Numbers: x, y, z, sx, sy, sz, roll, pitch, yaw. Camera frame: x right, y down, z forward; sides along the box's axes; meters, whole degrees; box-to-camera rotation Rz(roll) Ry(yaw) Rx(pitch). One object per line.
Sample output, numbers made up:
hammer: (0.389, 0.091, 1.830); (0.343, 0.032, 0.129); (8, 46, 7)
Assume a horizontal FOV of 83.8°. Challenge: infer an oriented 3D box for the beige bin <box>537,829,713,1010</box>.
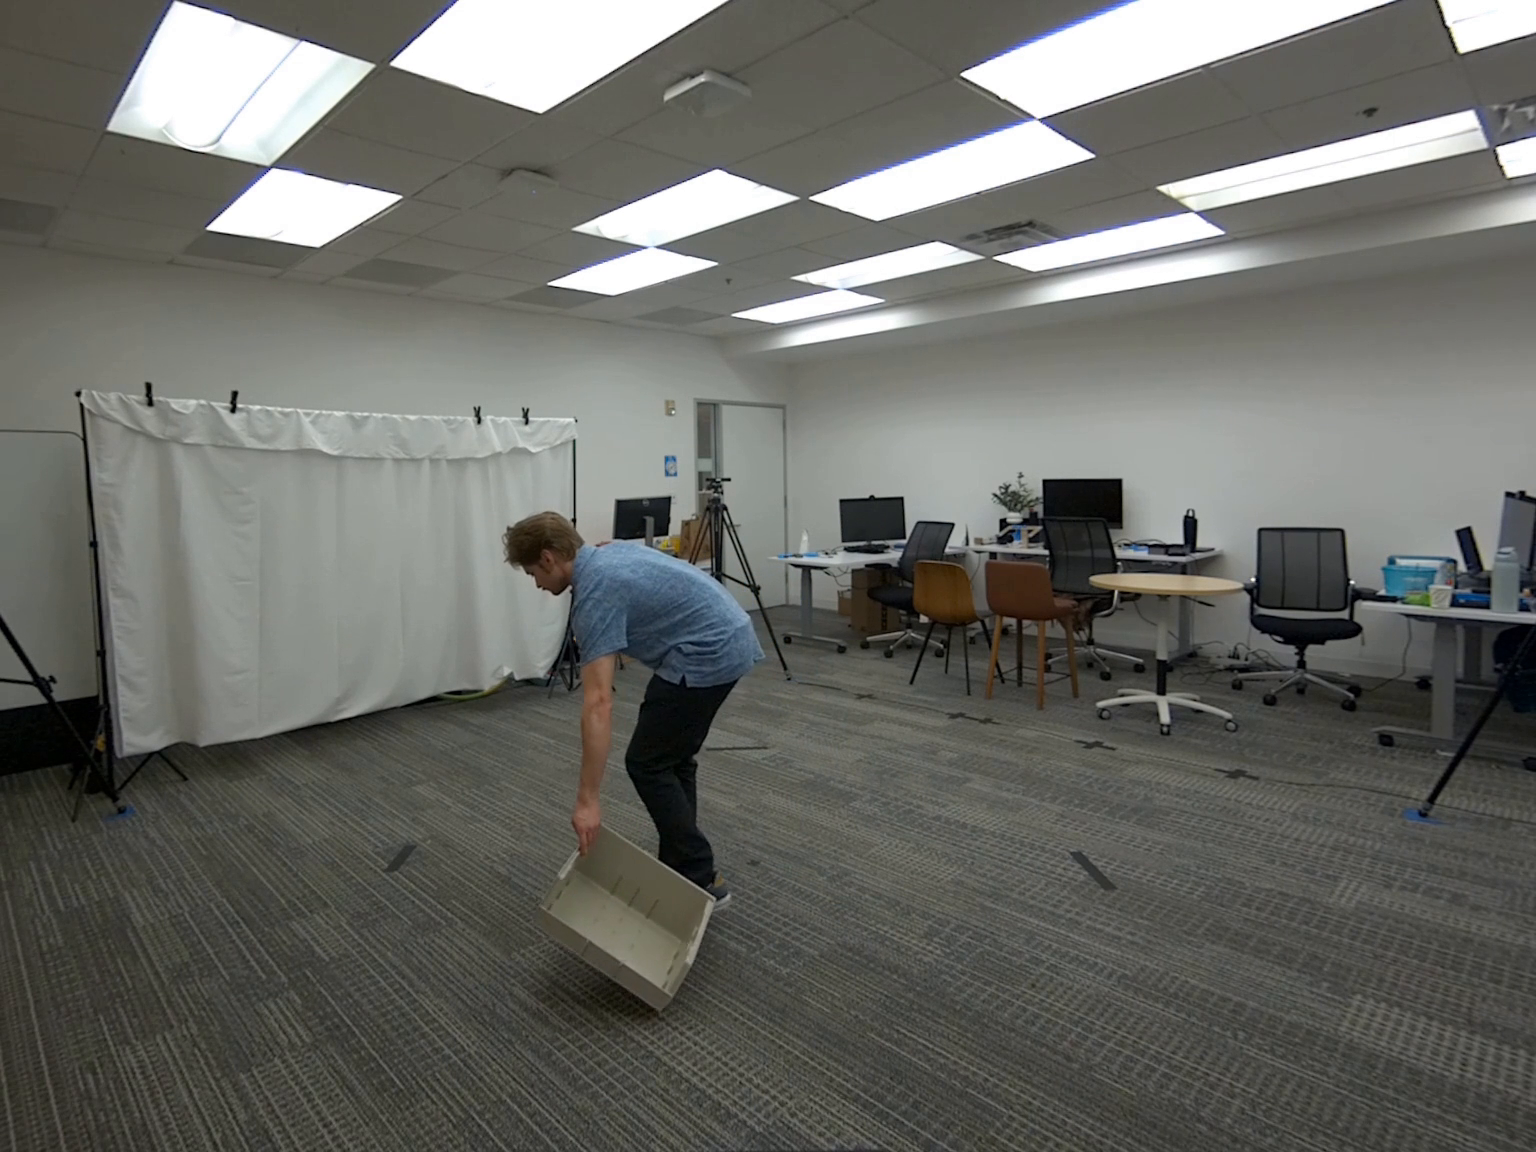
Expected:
beige bin: (-0.395, 0.949, 2.393); (0.425, 0.188, 0.376); (29, 8, 4)
